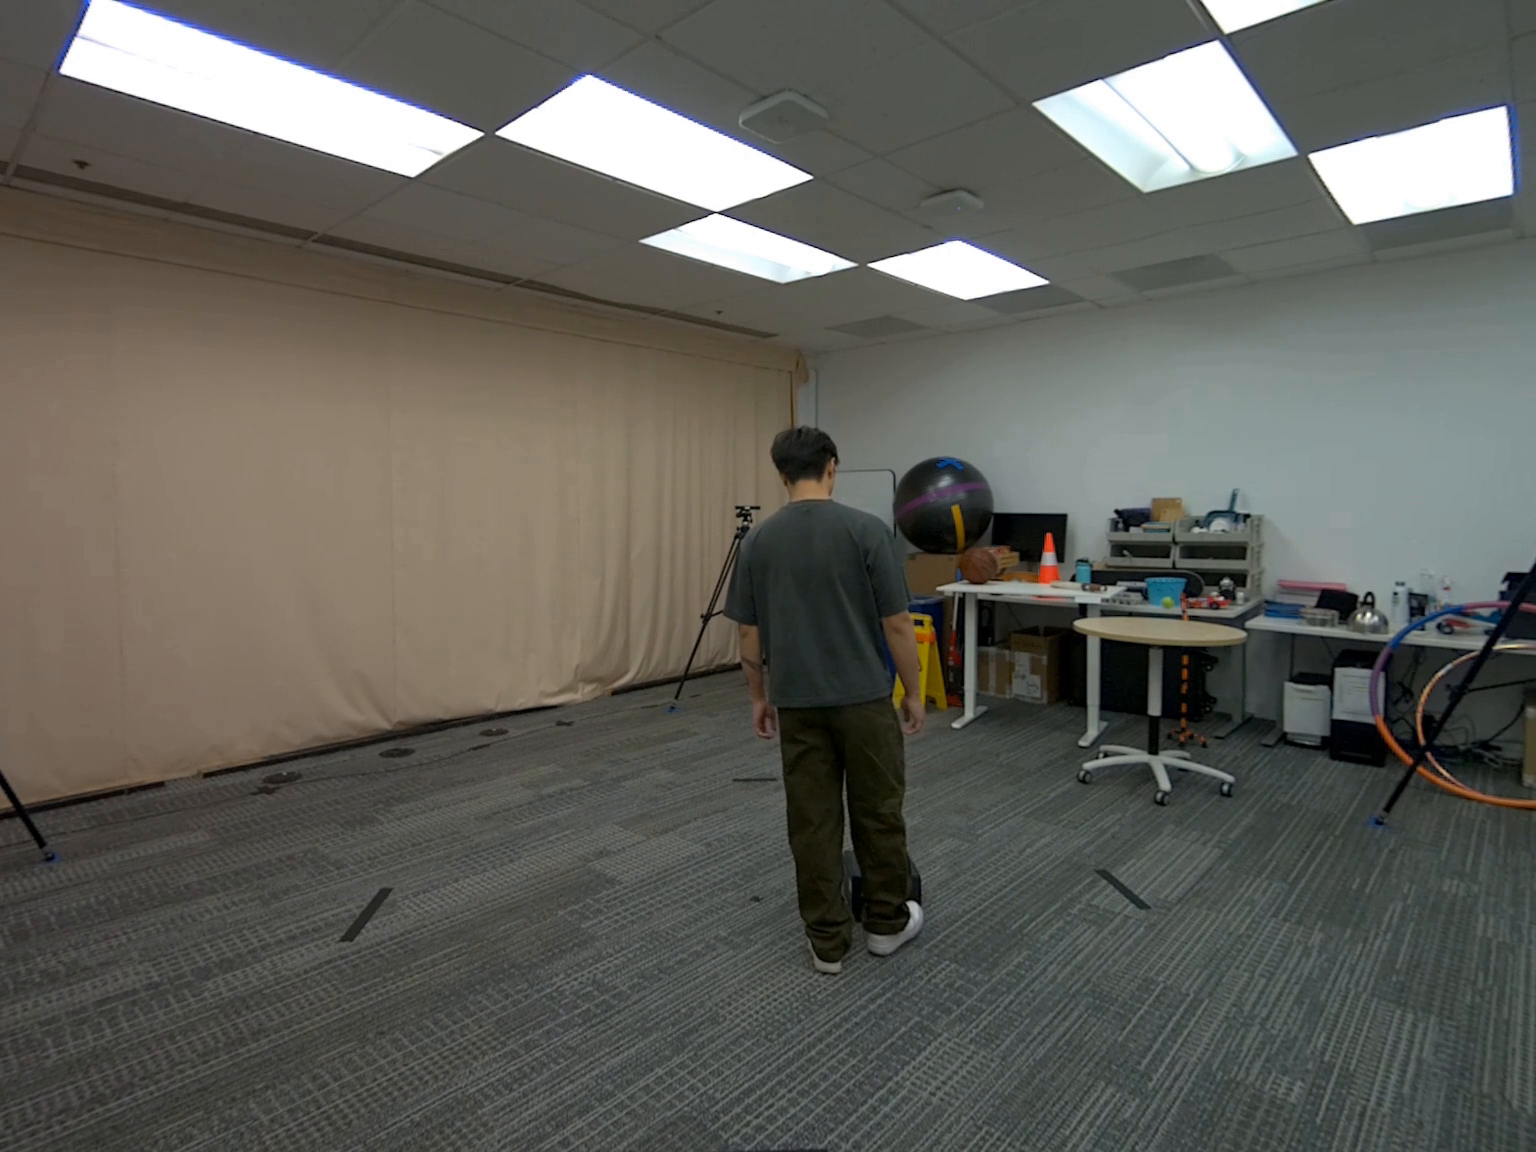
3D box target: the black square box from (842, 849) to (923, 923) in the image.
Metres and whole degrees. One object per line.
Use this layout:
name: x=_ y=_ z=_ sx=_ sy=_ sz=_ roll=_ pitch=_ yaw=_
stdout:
black square box: x=0.394 y=1.062 z=2.913 sx=0.227 sy=0.155 sz=0.218 roll=-1 pitch=4 yaw=-2
